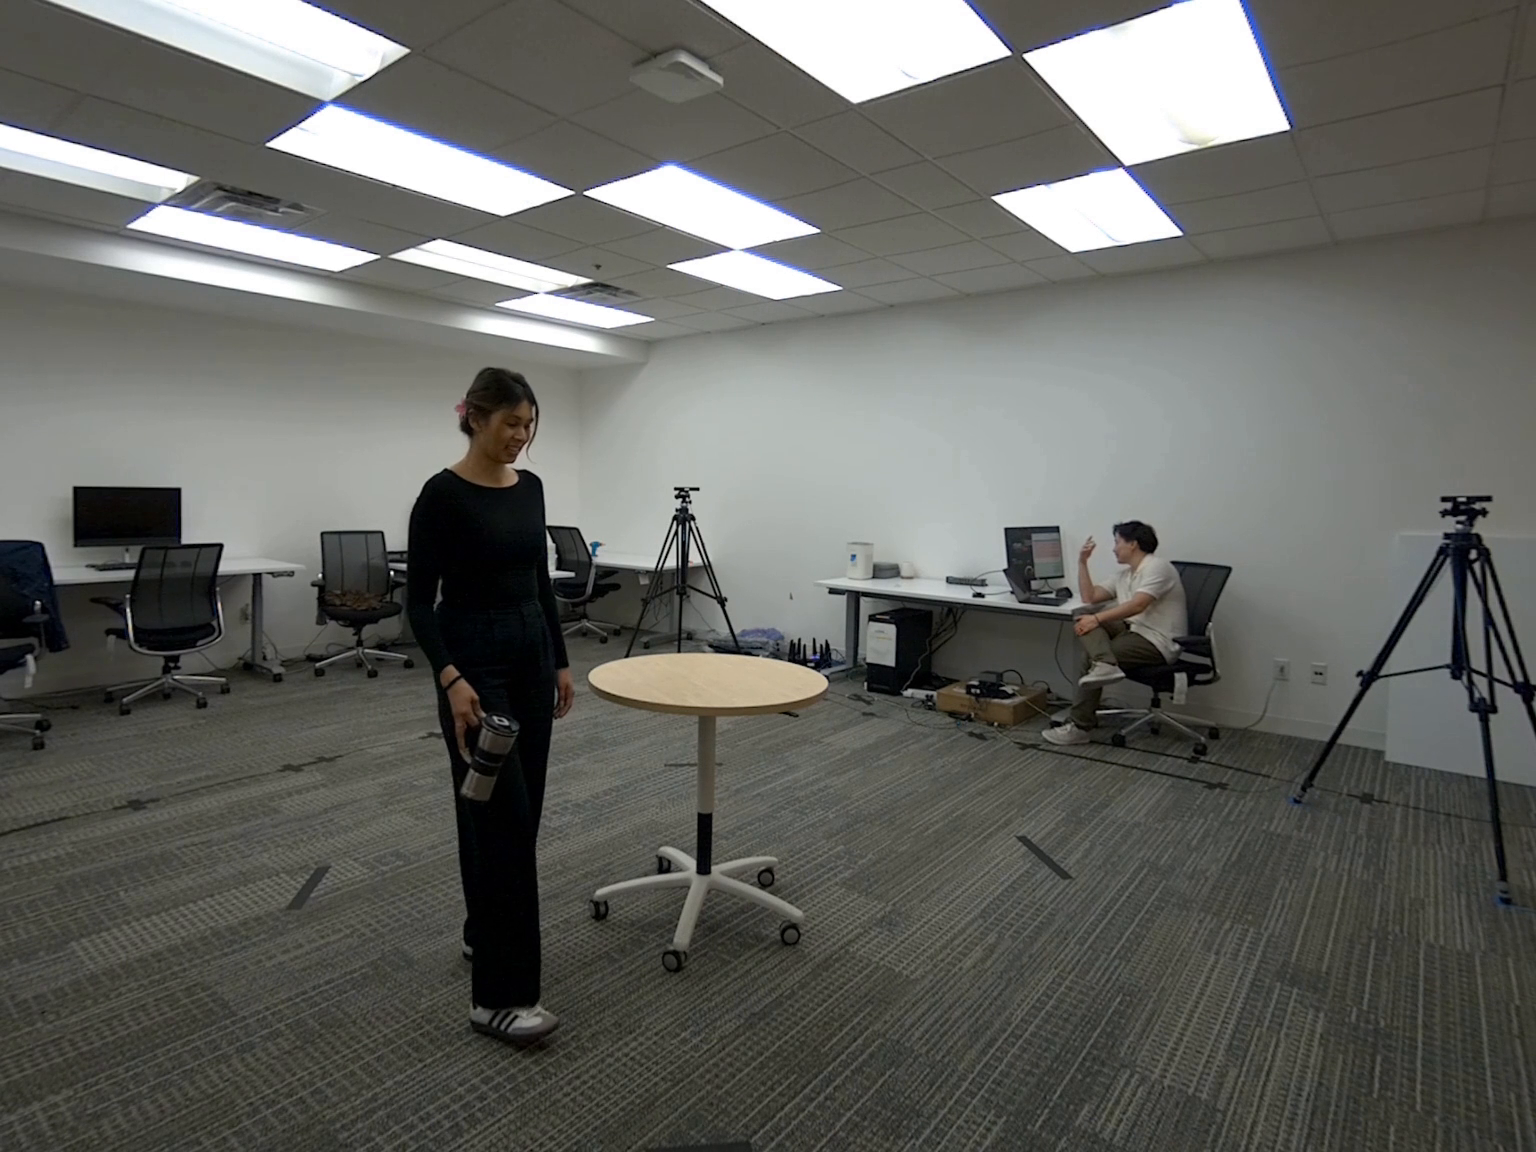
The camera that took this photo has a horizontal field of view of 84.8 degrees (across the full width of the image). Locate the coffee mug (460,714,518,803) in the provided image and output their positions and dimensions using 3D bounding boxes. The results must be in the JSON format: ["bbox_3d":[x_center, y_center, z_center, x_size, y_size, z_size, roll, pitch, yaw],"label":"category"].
[{"bbox_3d":[-0.696,0.449,2.076,0.090,0.202,0.119,15,3,18],"label":"coffee mug"}]
